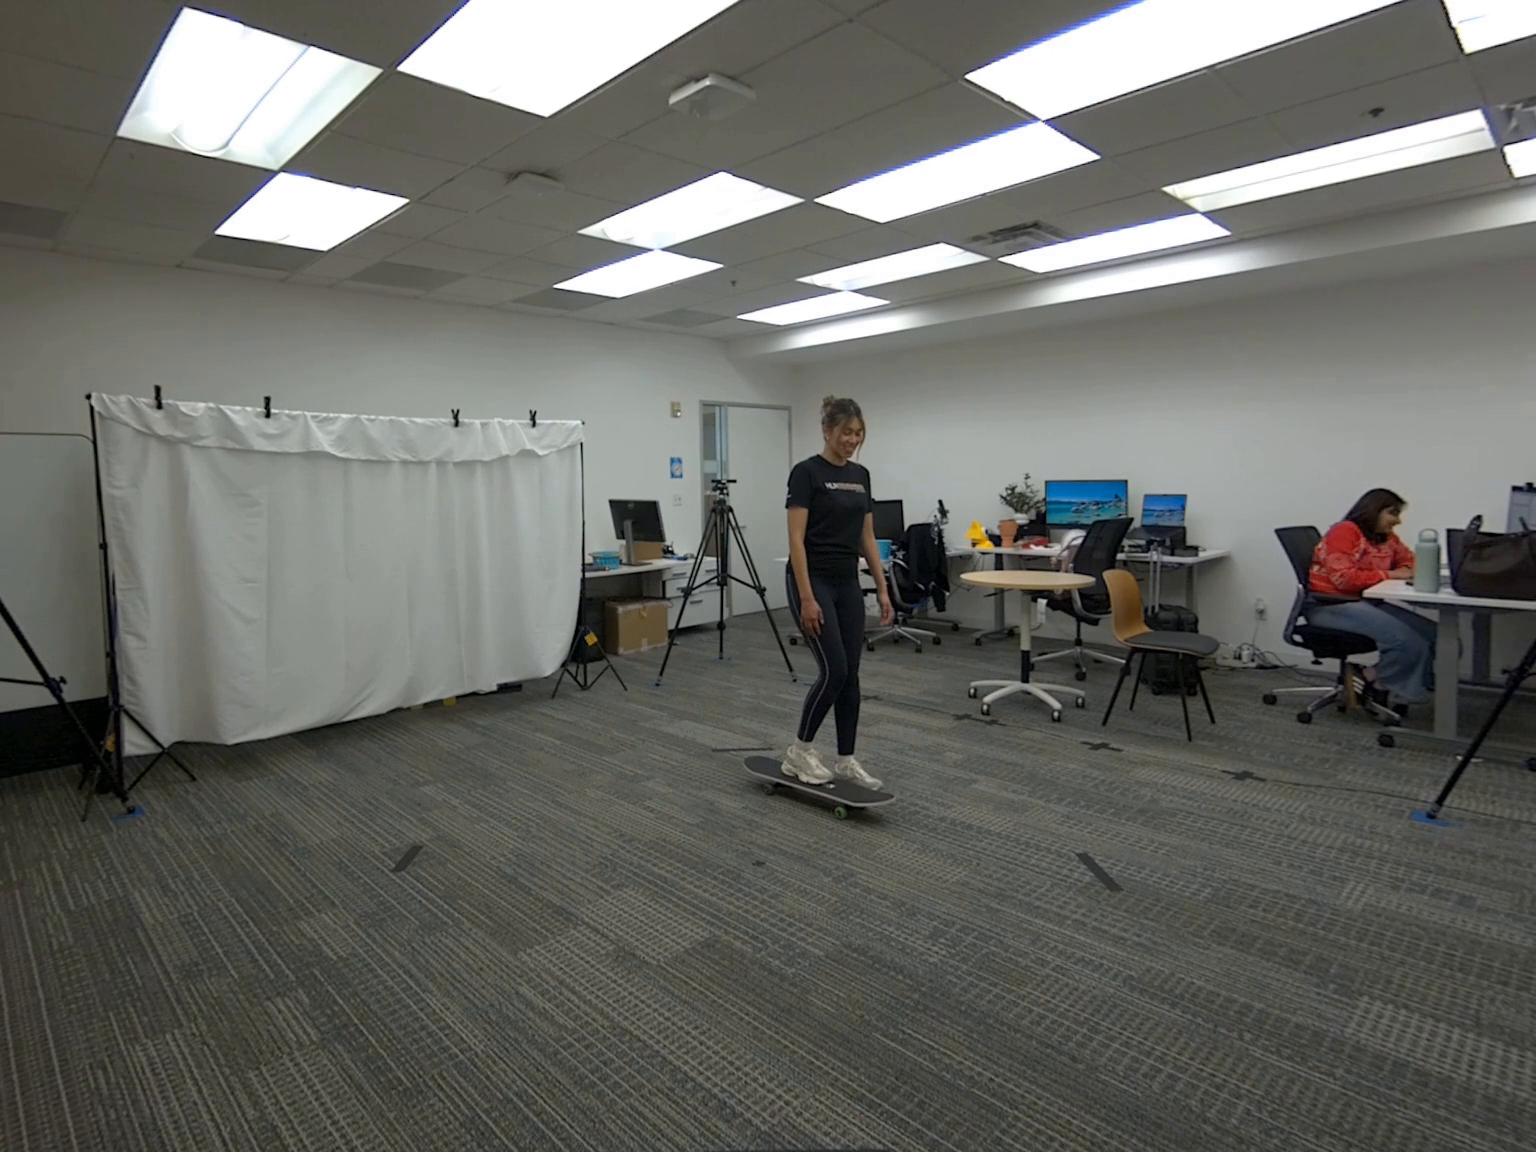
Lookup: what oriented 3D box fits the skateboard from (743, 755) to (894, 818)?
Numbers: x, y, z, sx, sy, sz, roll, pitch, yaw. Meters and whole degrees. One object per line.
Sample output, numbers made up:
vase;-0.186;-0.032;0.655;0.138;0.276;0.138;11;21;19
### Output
skateboard;0.205;0.925;3.707;0.810;0.110;0.188;5;8;45
